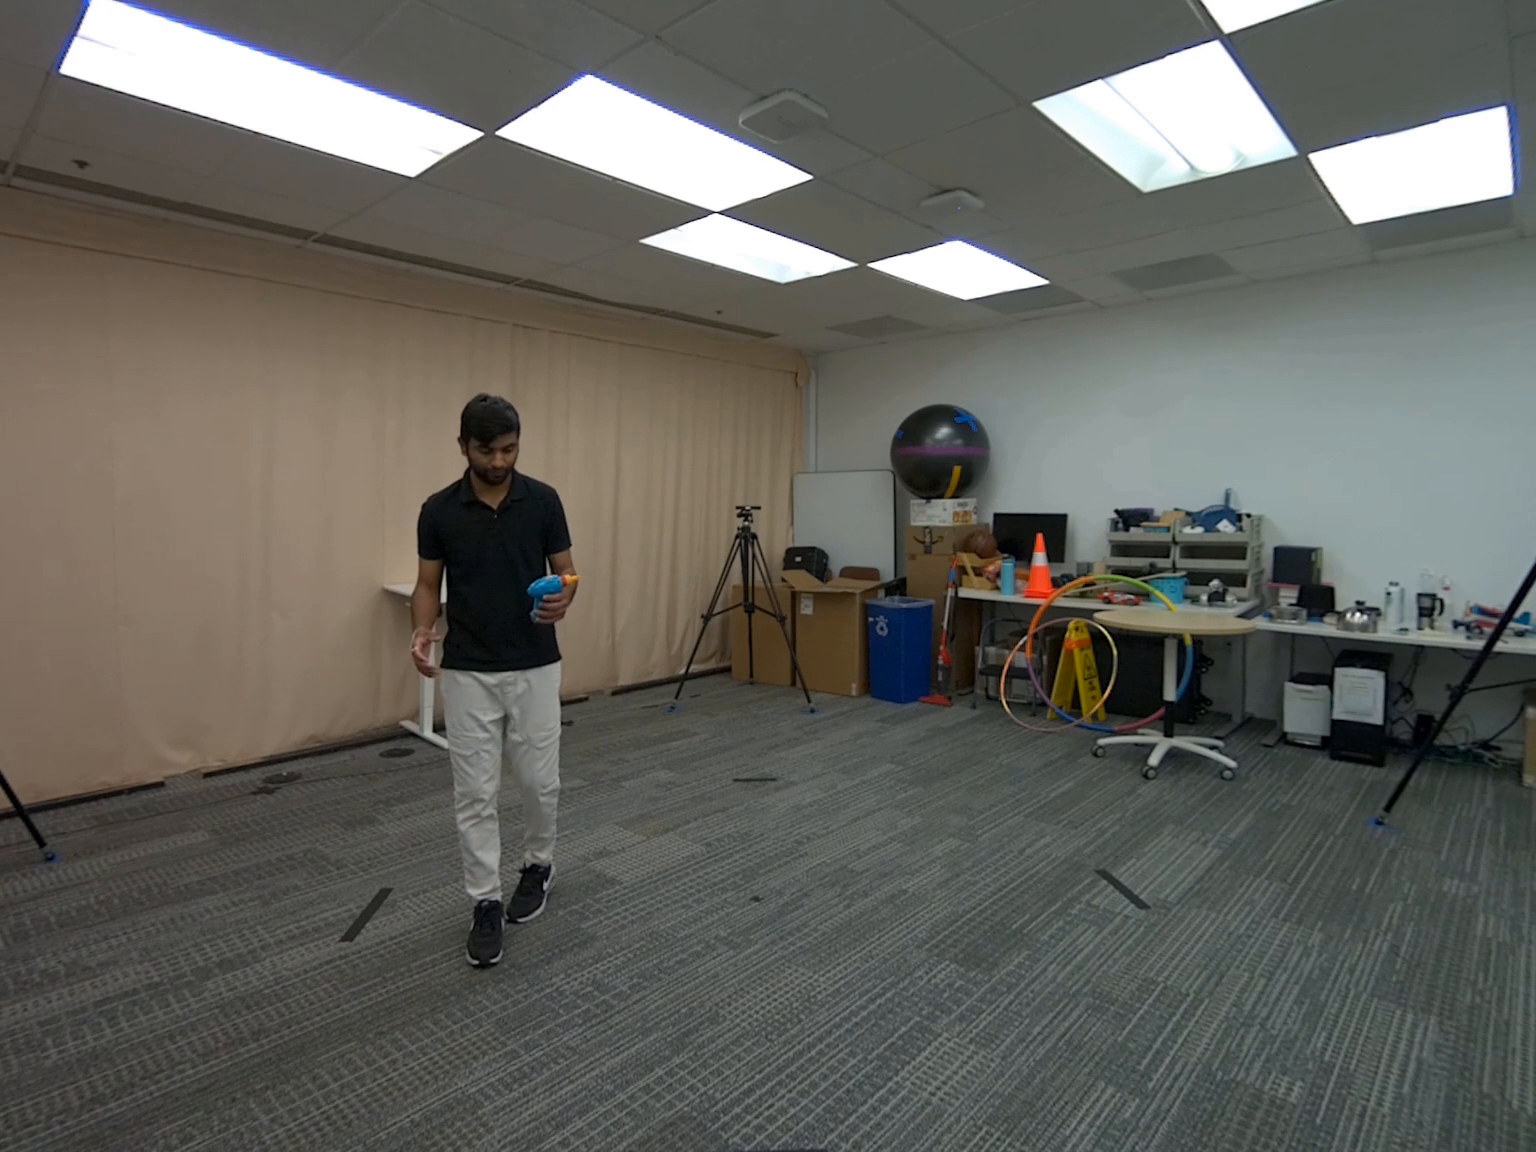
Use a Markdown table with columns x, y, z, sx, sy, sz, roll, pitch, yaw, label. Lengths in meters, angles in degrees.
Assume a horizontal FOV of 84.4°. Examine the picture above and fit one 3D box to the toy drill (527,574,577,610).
| x | y | z | sx | sy | sz | roll | pitch | yaw | label |
| --- | --- | --- | --- | --- | --- | --- | --- | --- | --- |
| -0.622 | 0.055 | 2.490 | 0.166 | 0.144 | 0.063 | -23 | 49 | -39 | toy drill |
